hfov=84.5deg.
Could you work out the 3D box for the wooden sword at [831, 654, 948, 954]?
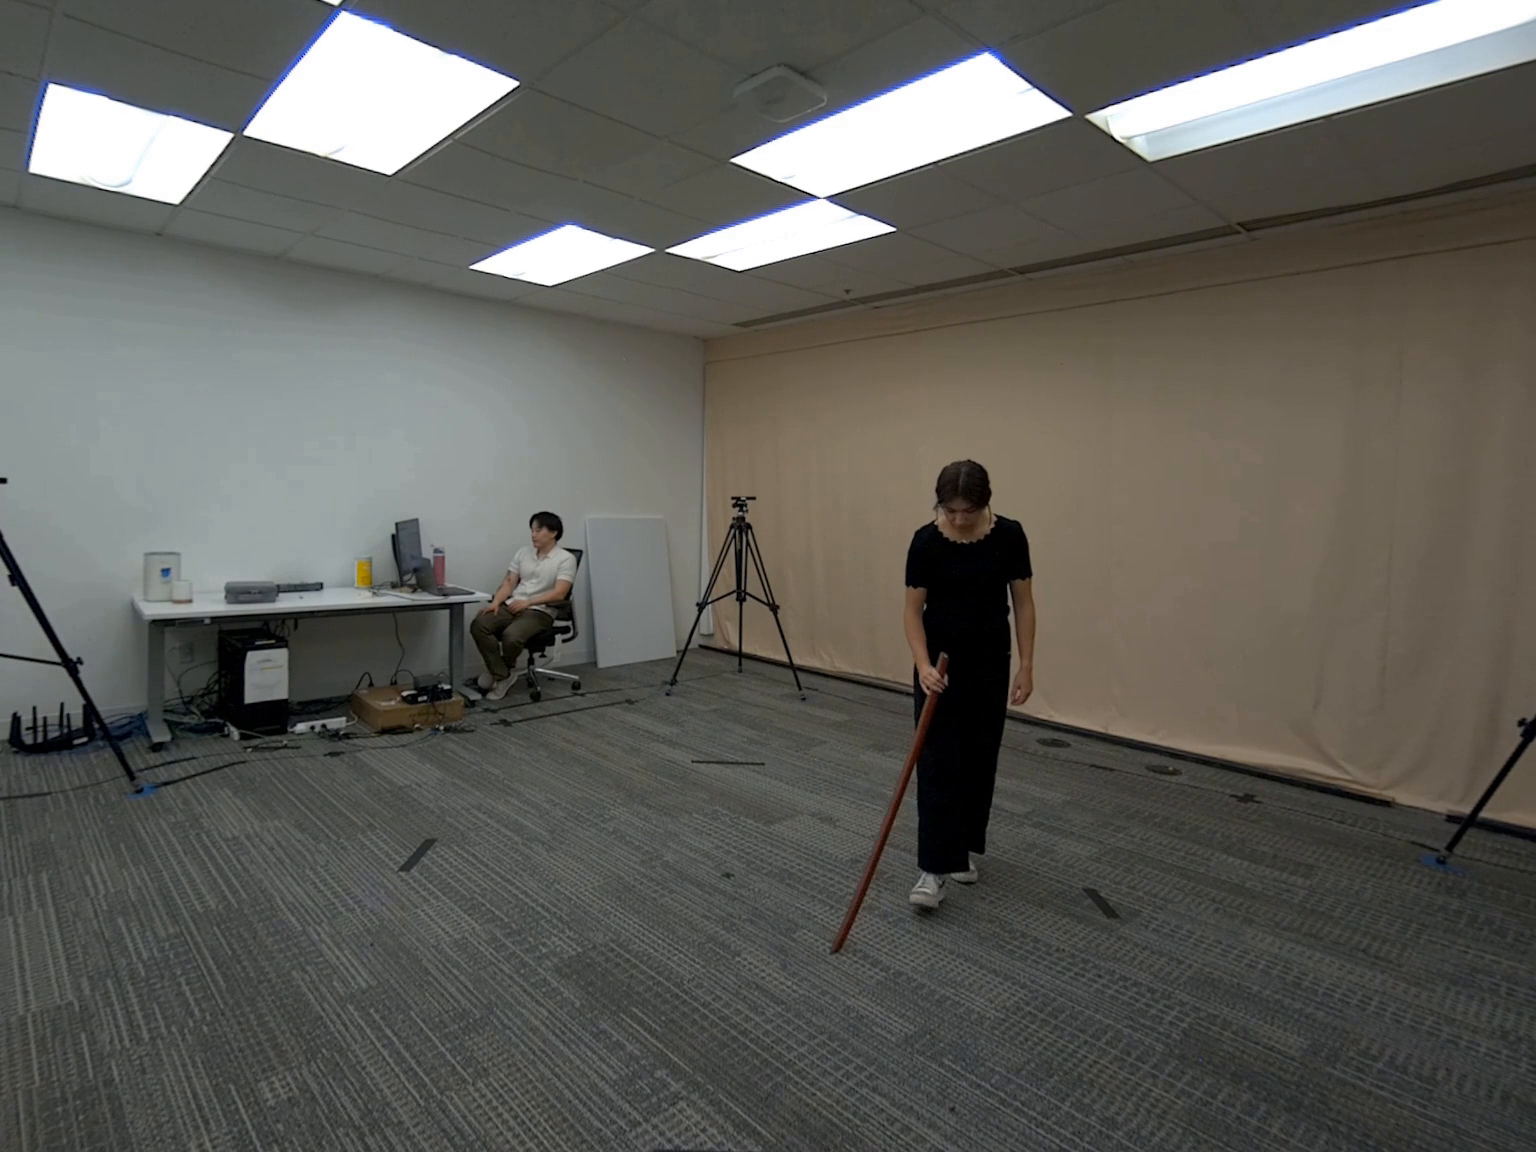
[{"bbox_3d":[0.405,0.734,2.736,0.050,1.031,0.024,30,-19,-16],"label":"wooden sword"}]
